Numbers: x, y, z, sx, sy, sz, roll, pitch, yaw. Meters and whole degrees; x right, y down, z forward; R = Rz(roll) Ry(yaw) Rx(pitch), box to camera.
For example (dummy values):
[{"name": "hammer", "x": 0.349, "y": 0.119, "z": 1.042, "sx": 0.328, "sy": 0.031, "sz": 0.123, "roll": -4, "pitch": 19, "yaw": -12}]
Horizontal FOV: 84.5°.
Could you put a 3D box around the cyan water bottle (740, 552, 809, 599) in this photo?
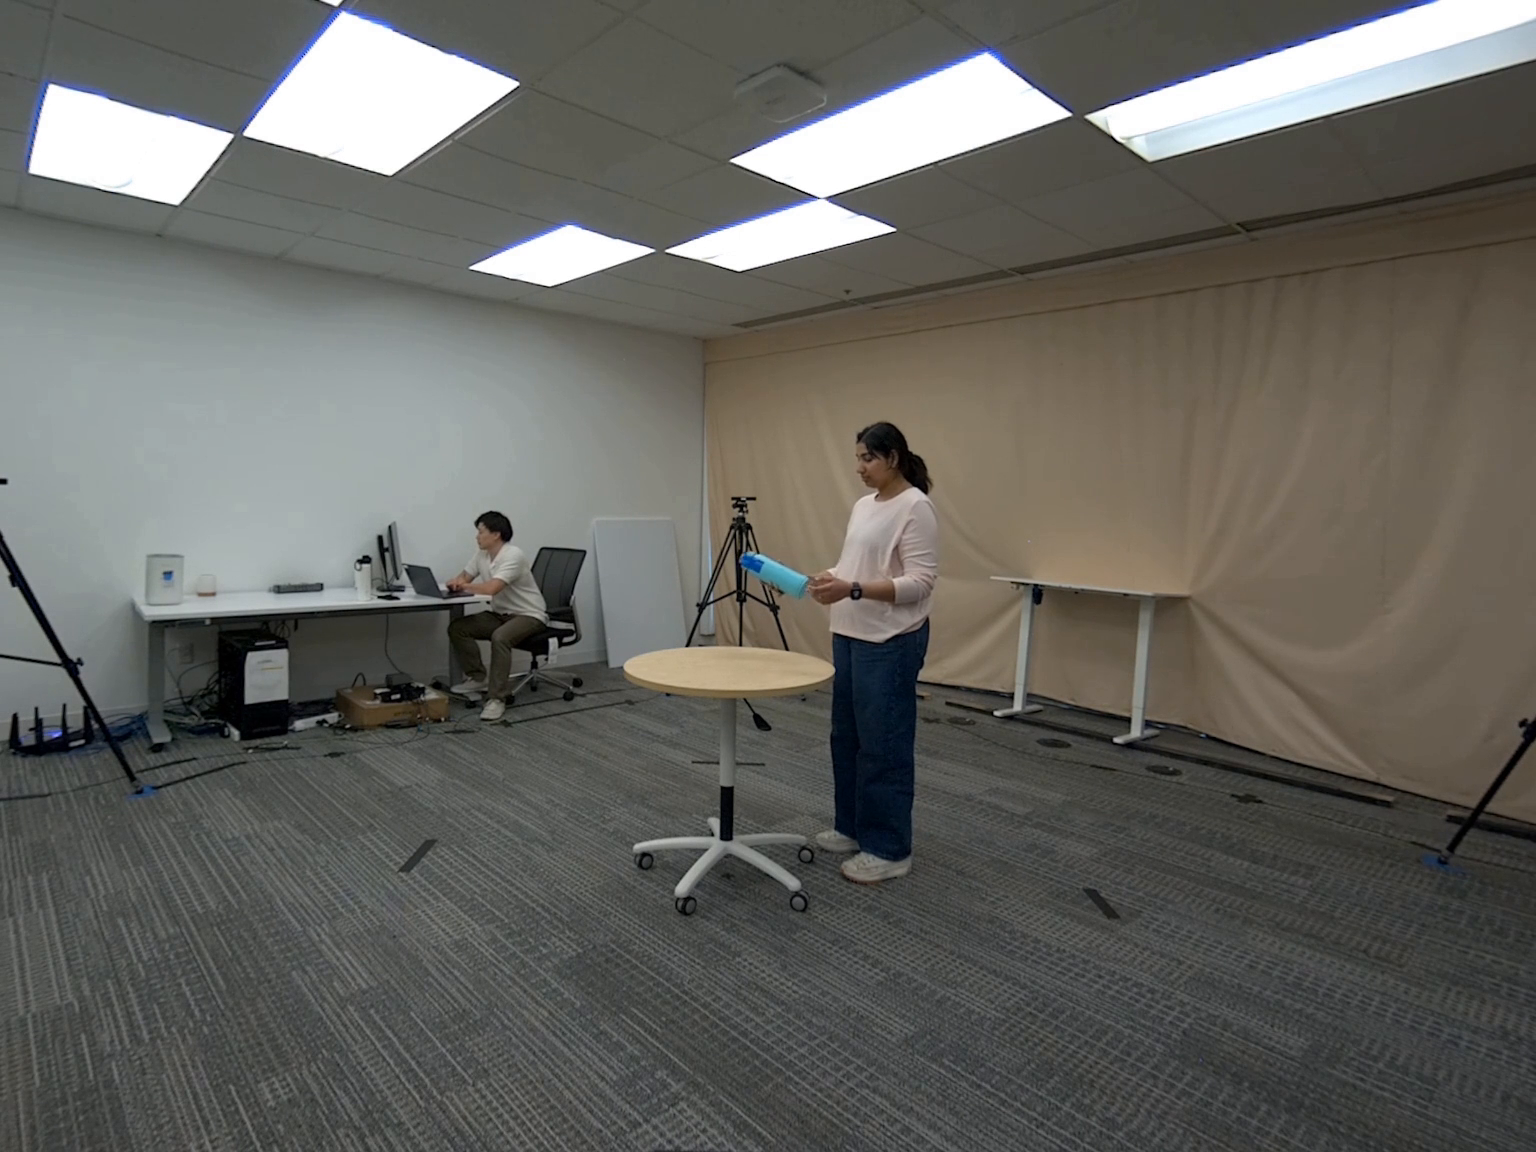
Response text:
[{"name": "cyan water bottle", "x": 0.013, "y": -0.025, "z": 3.215, "sx": 0.289, "sy": 0.092, "sz": 0.091, "roll": 28, "pitch": 13, "yaw": 18}]
